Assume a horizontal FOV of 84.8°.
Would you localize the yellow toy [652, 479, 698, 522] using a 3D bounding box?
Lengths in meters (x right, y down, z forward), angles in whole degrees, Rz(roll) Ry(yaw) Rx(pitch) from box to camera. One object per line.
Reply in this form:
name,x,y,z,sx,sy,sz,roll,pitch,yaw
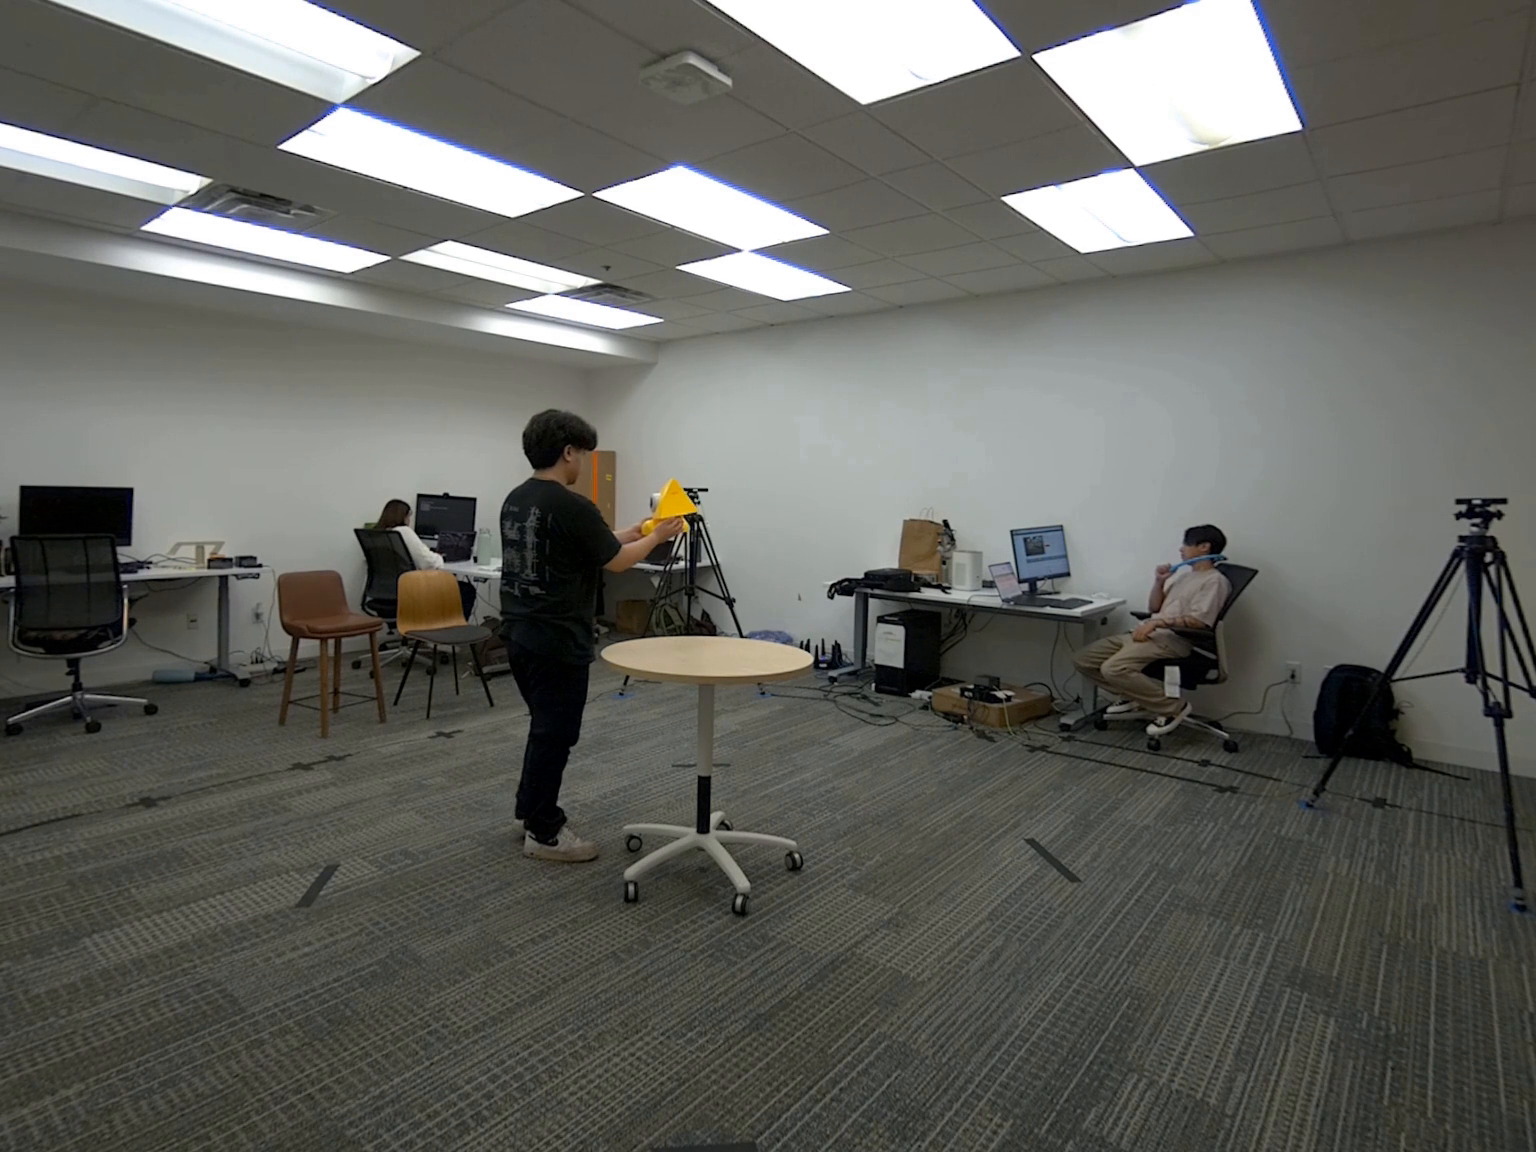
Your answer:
yellow toy,-0.439,-0.299,3.521,0.200,0.228,0.200,-14,15,-43
